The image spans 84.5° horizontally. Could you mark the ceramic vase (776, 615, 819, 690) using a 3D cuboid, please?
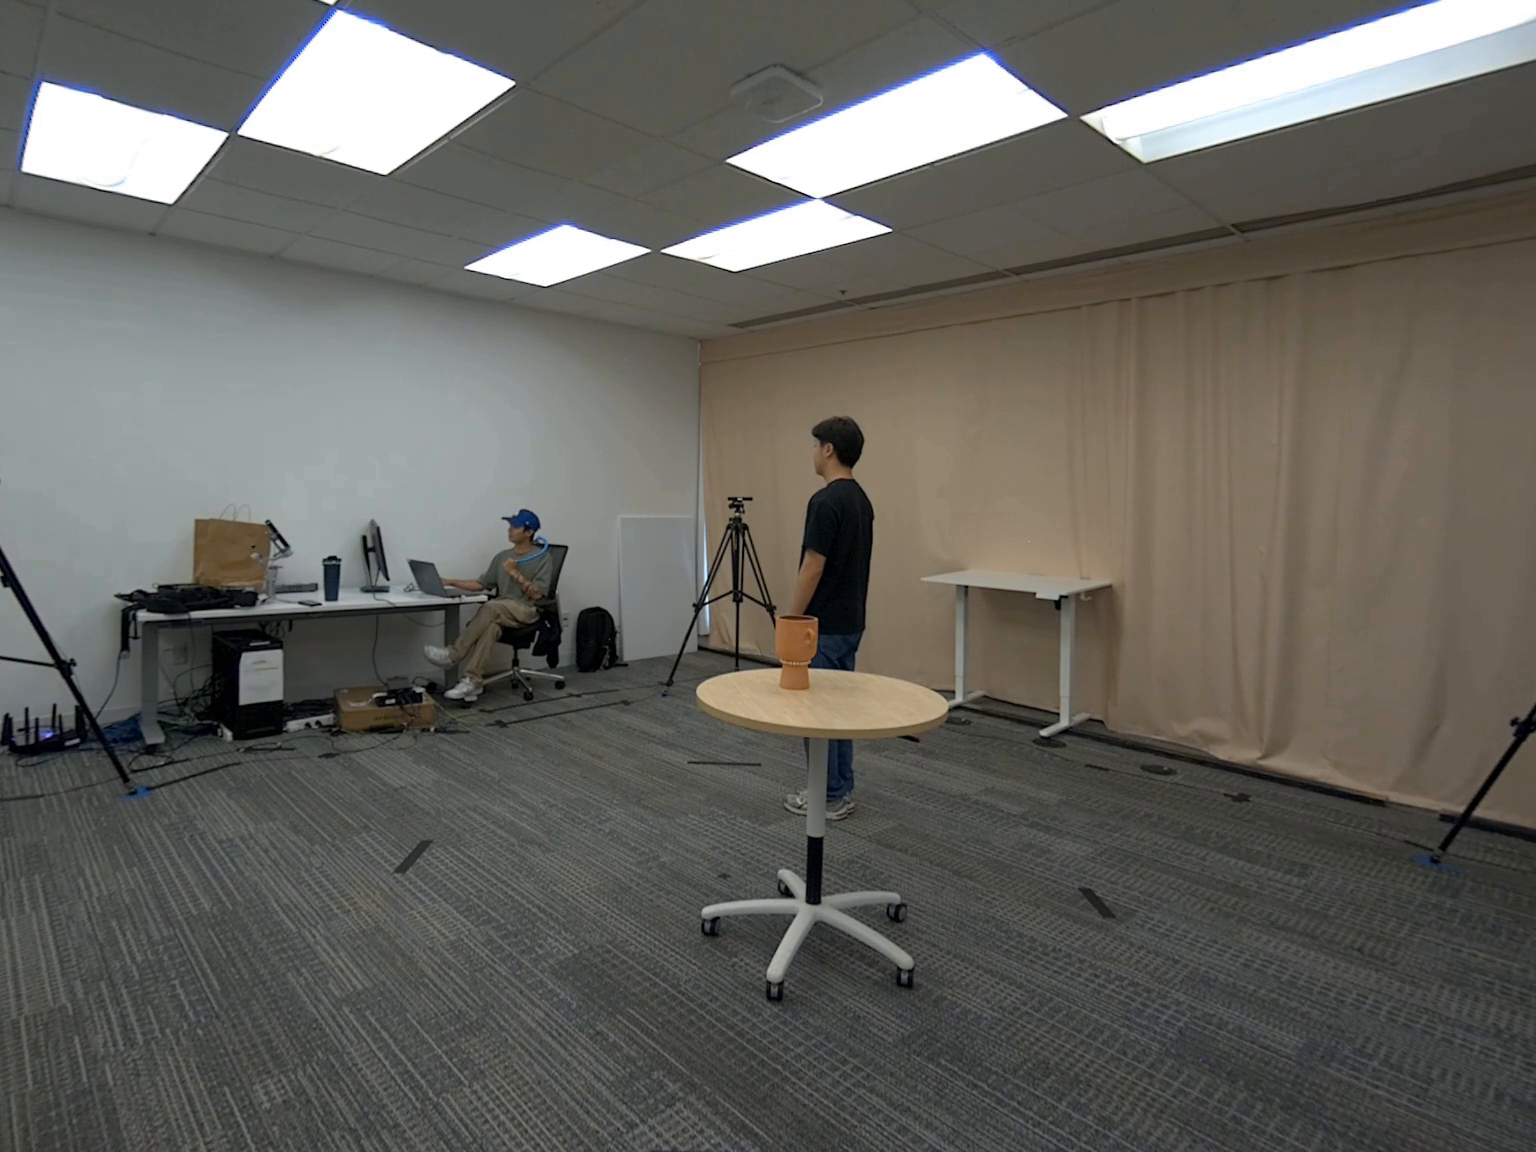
[{"bbox_3d":[0.087,0.248,2.673,0.136,0.219,0.158,3,4,9],"label":"ceramic vase"}]
